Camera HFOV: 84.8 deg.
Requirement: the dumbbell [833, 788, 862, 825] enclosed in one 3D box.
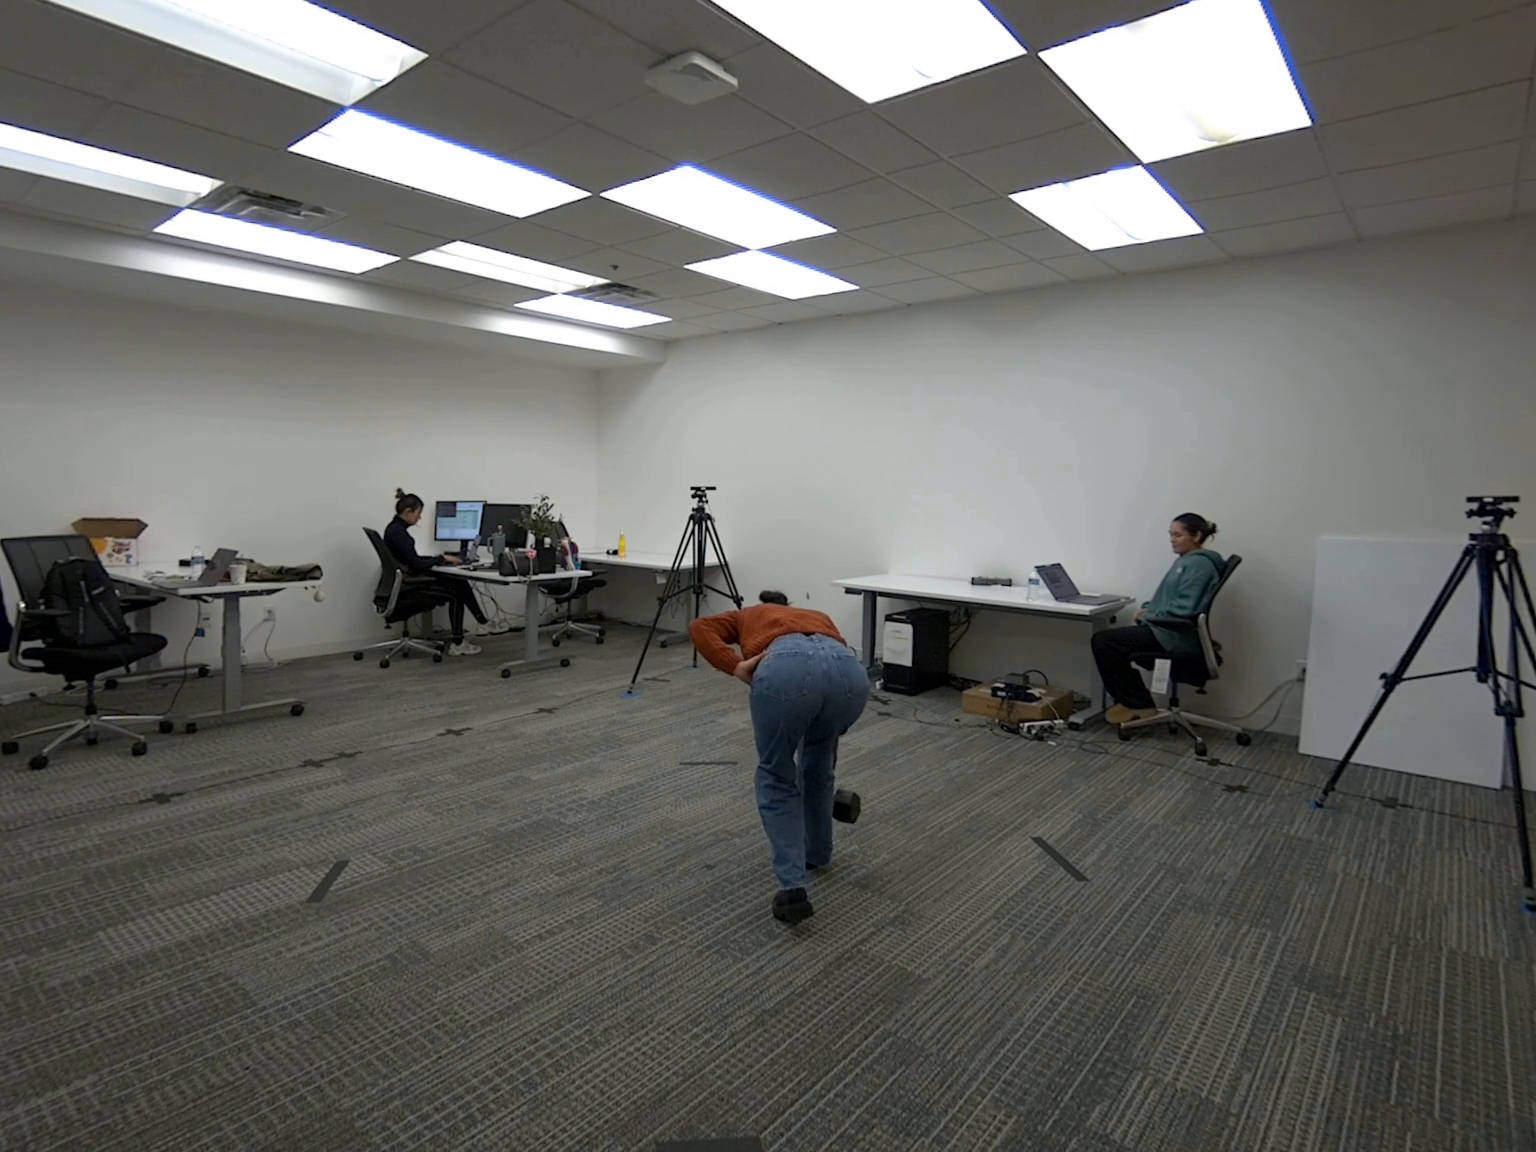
[{"bbox_3d":[0.192,0.847,3.203,0.302,0.122,0.106,3,4,31],"label":"dumbbell"}]
